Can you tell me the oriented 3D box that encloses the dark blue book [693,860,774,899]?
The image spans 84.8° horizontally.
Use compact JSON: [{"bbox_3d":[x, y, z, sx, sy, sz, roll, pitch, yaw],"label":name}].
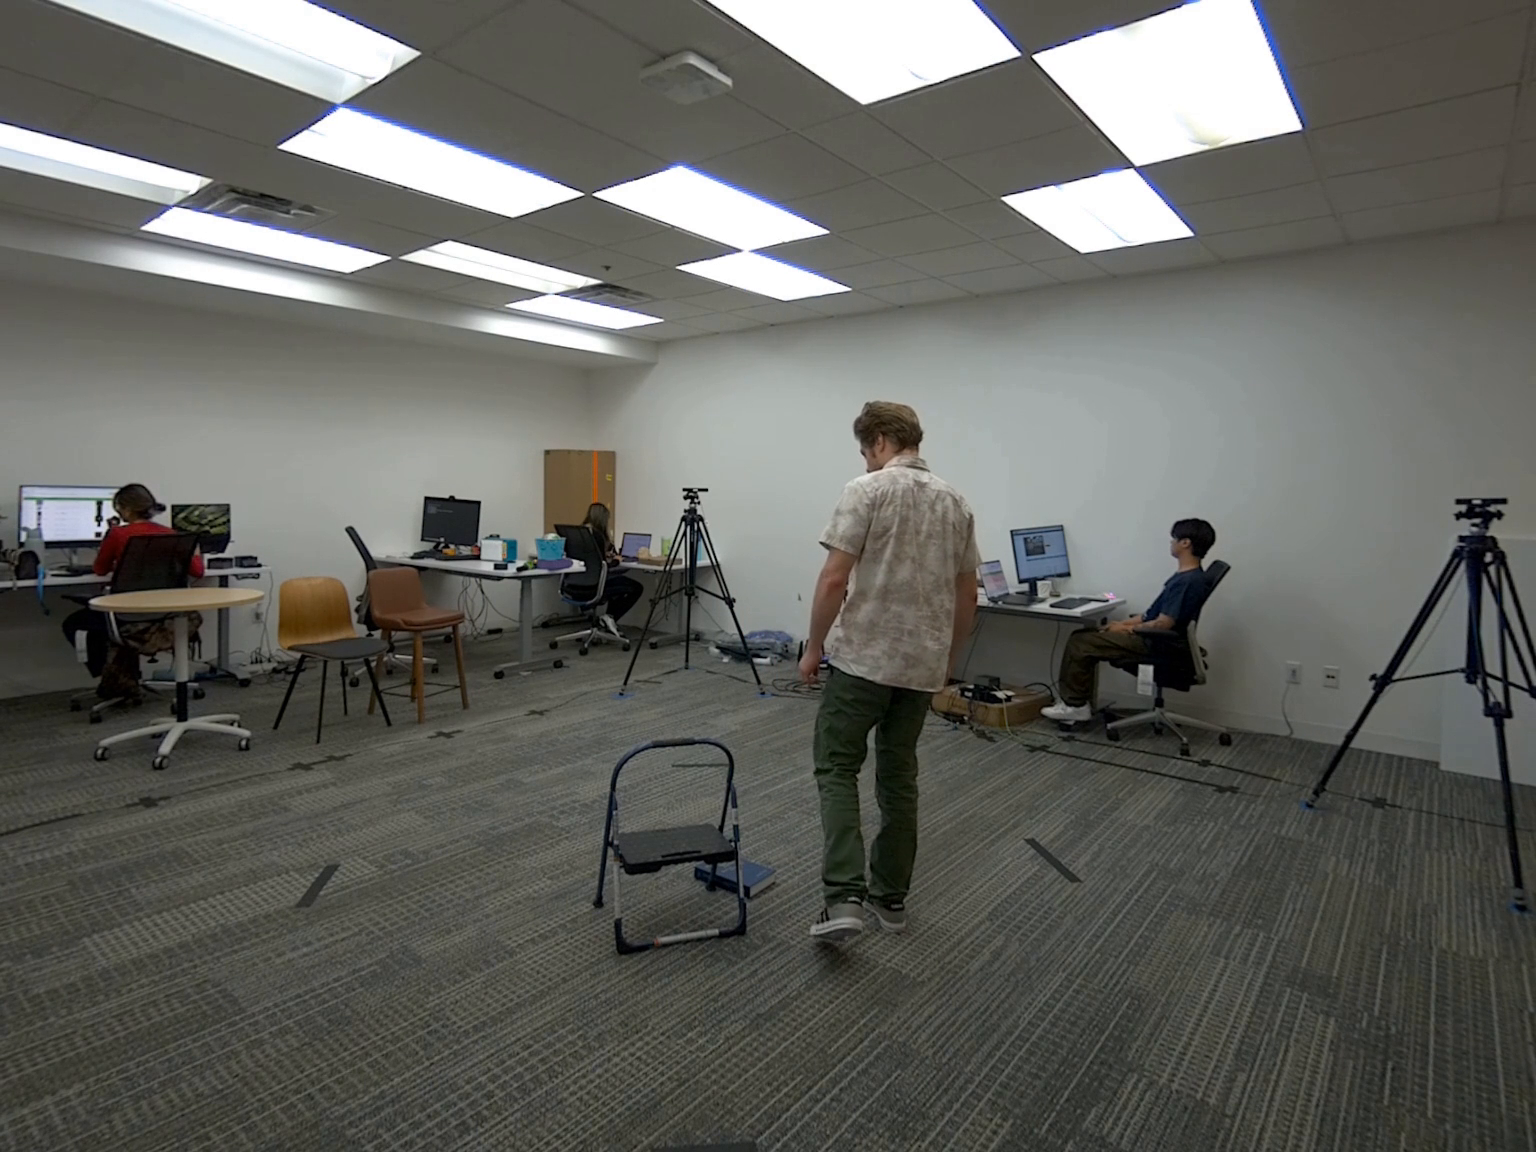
[{"bbox_3d":[-0.124,1.052,3.017,0.253,0.045,0.159,5,6,36],"label":"dark blue book"}]
